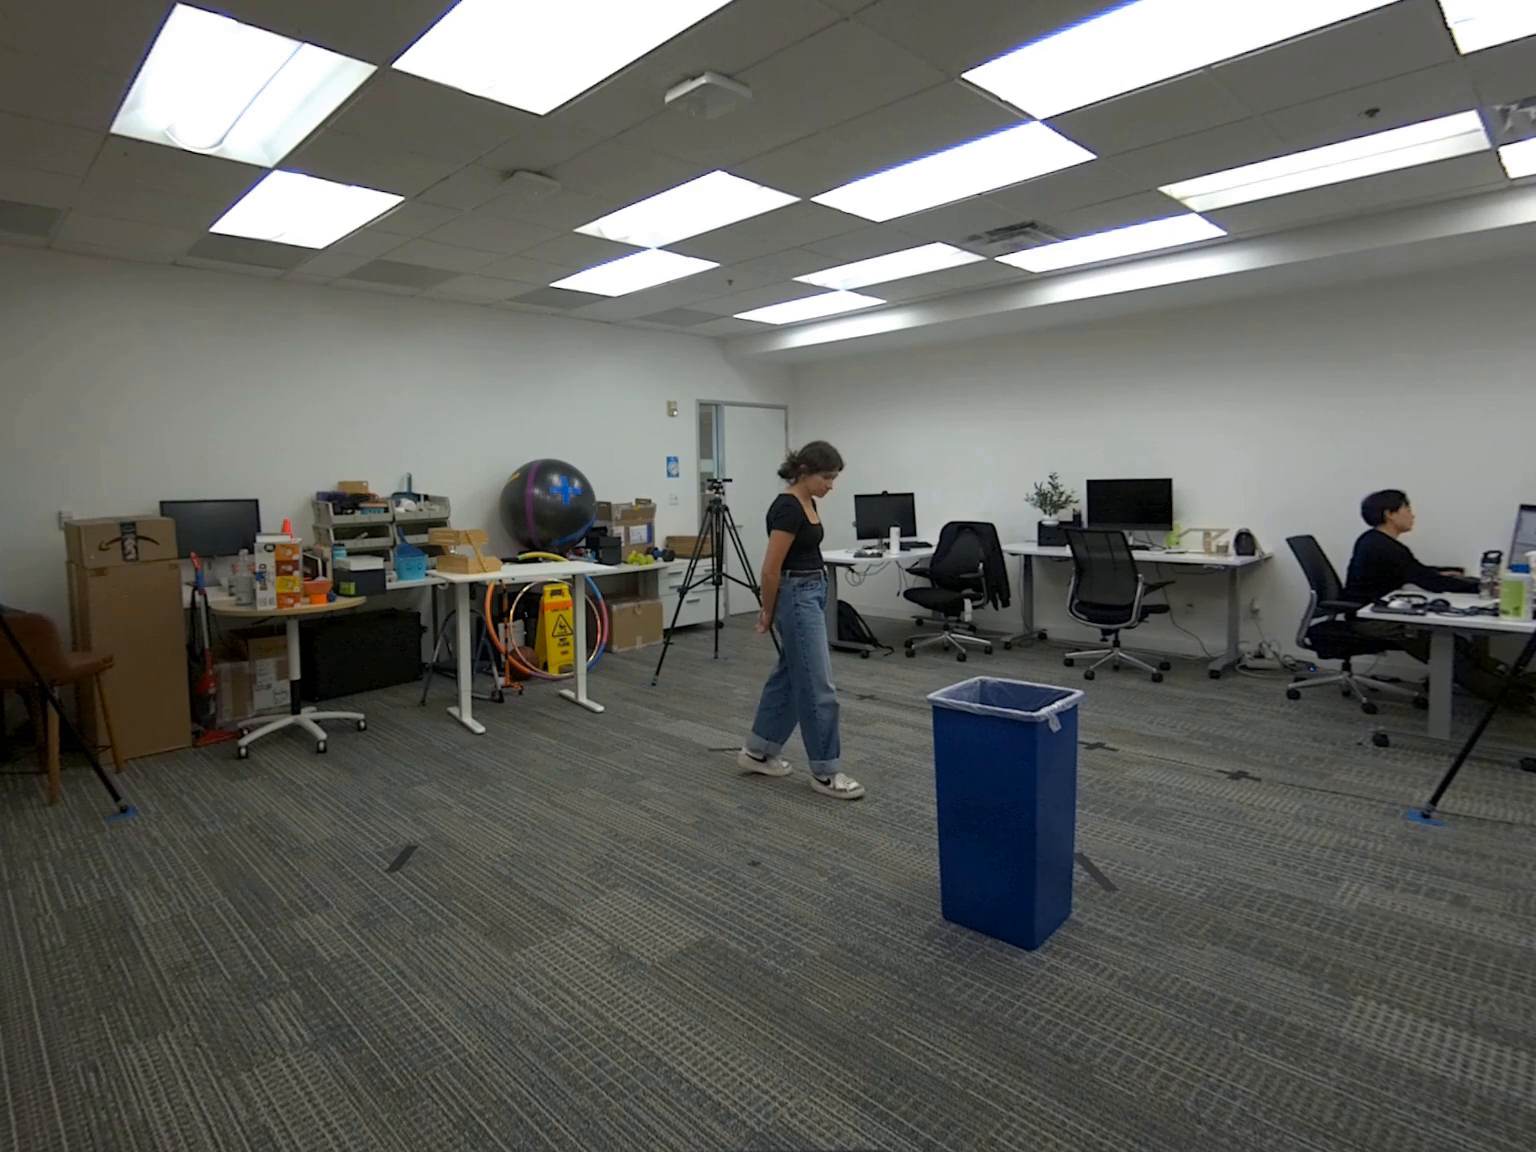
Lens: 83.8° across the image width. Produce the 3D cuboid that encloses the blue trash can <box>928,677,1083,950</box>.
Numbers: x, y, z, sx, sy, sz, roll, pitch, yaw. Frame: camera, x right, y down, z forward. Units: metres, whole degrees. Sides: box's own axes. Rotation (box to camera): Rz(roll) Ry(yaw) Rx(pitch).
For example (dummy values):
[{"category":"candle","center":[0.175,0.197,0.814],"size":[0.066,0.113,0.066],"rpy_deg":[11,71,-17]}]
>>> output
[{"category":"blue trash can","center":[0.755,0.723,2.676],"size":[0.389,0.712,0.364],"rpy_deg":[2,4,42]}]
